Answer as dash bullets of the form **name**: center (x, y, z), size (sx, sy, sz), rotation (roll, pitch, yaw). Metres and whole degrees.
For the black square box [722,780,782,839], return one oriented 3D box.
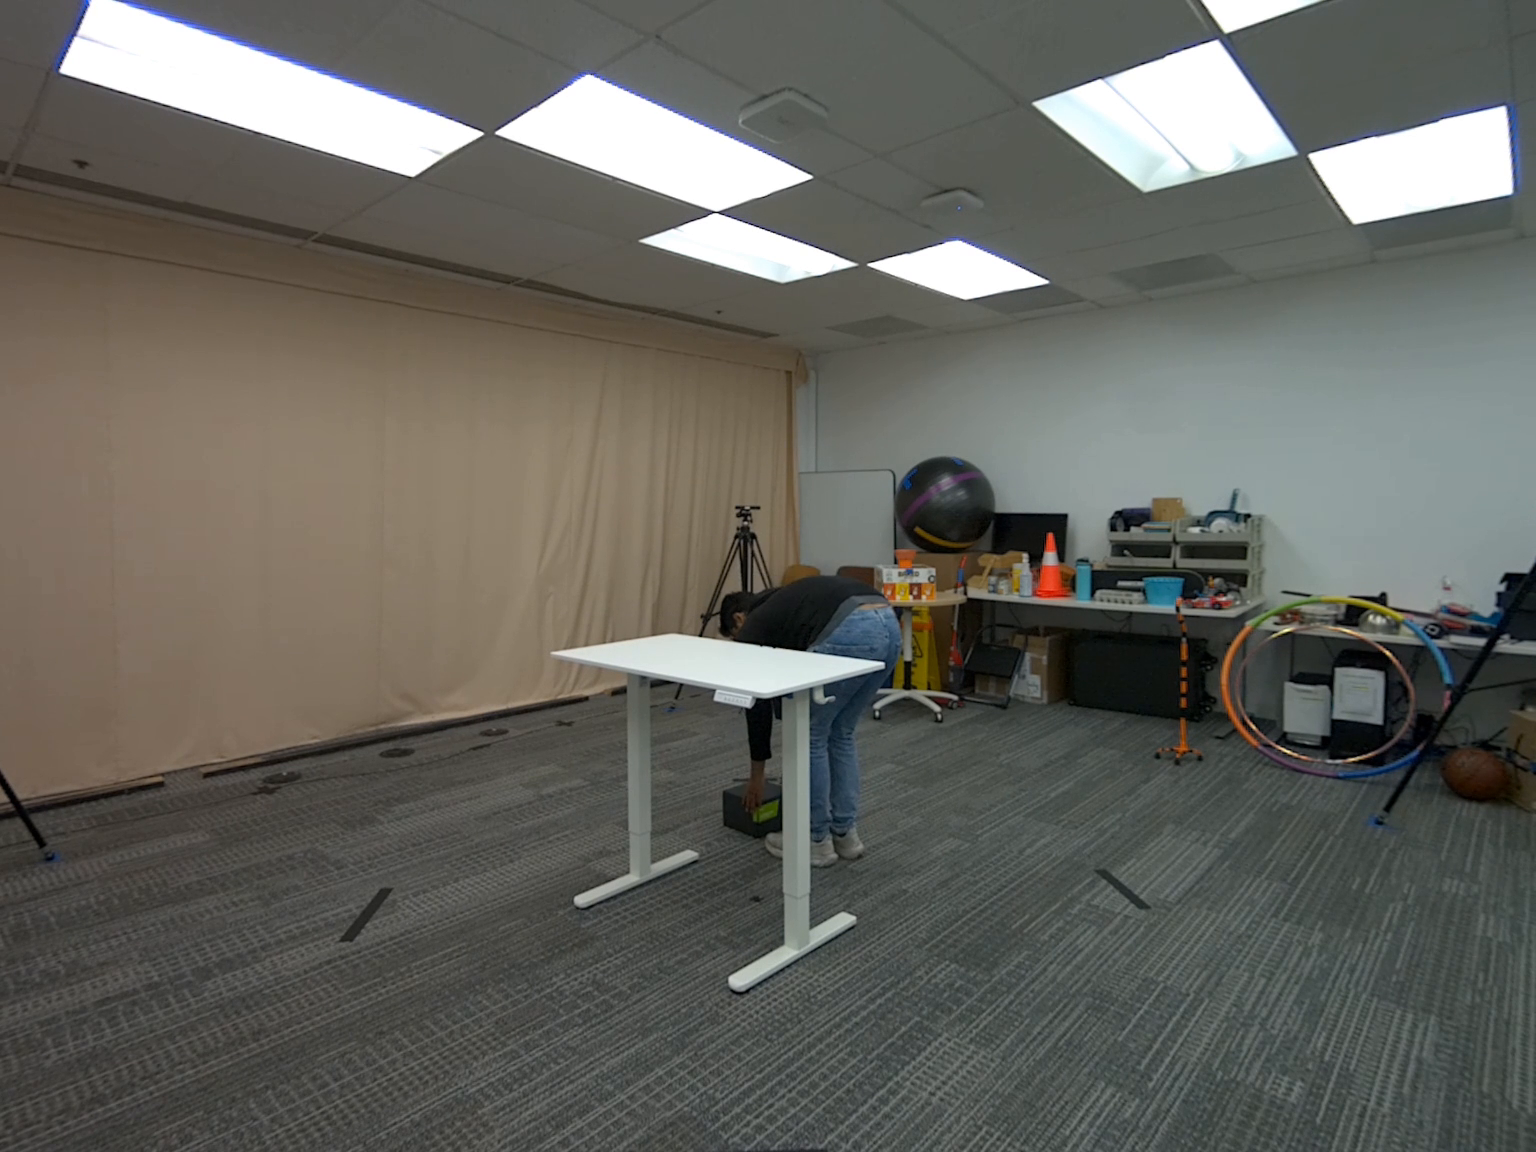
- **black square box**: center (-0.038, 0.995, 3.659), size (0.221, 0.155, 0.224), rotation (-4, 4, -45)
